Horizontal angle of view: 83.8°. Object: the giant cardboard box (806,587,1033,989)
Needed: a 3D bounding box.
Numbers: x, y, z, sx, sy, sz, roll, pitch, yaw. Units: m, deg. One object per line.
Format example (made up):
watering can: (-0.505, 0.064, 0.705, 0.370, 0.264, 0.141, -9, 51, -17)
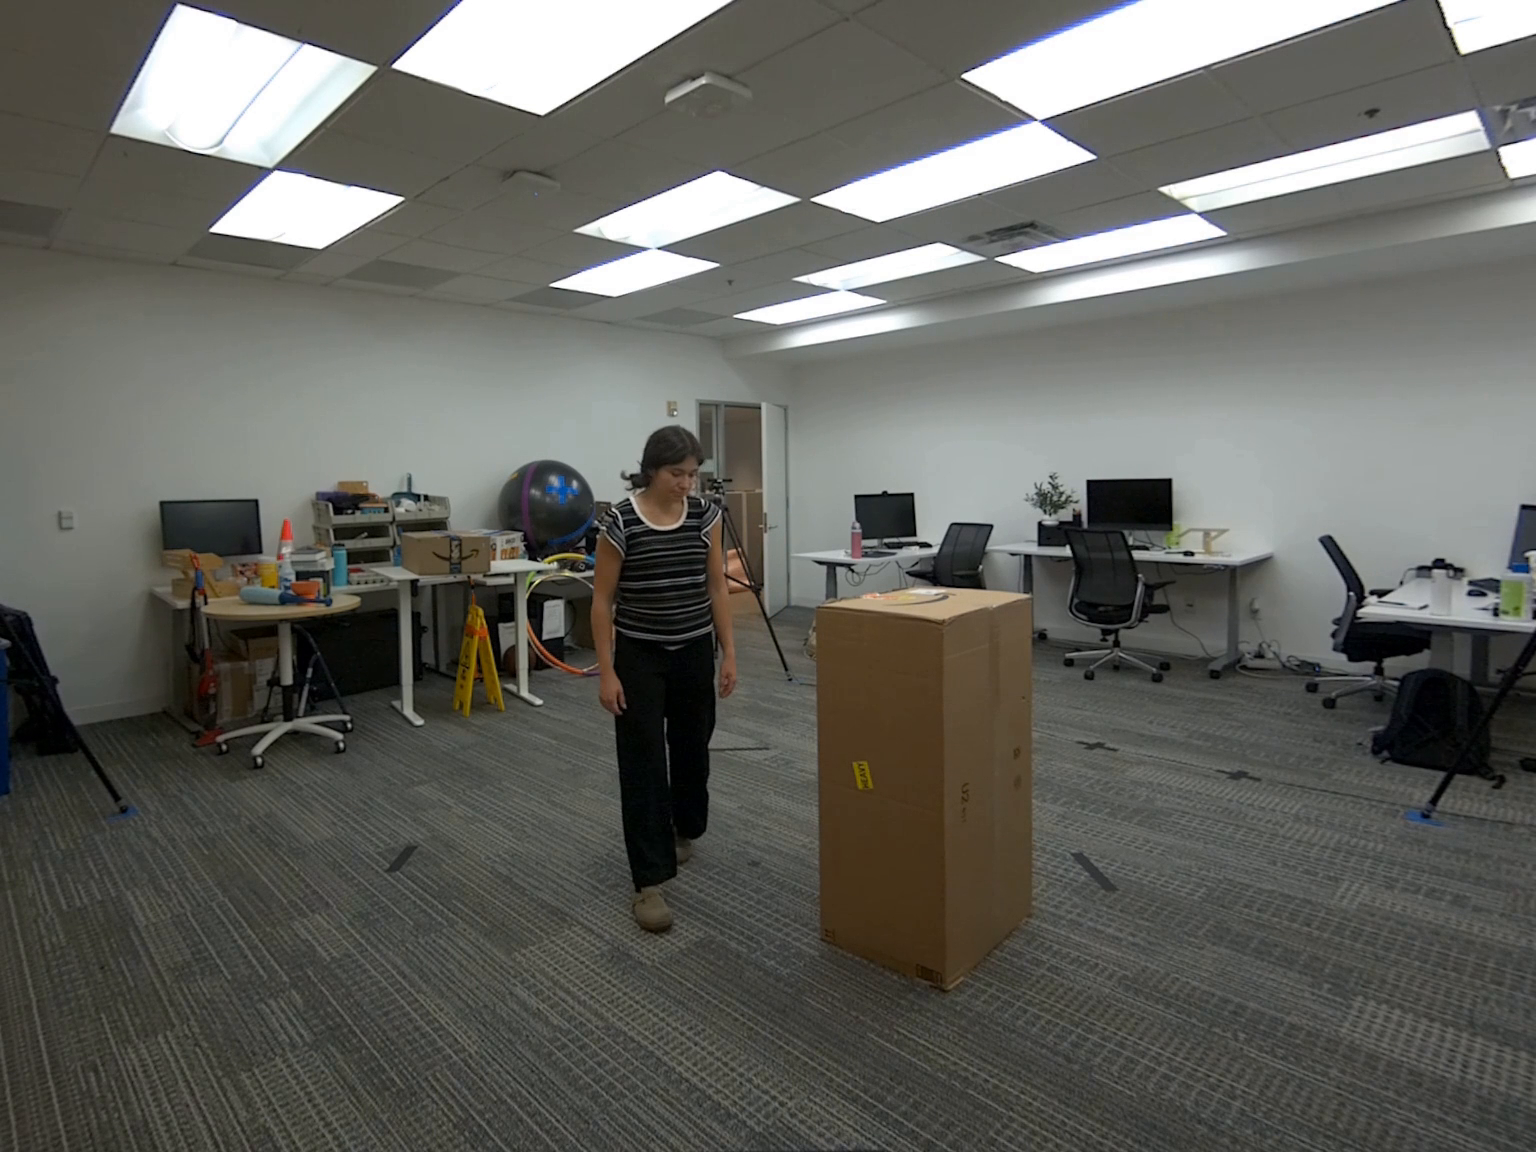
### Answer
giant cardboard box: (0.492, 0.583, 2.624, 0.439, 1.022, 0.562, 2, 5, 42)
